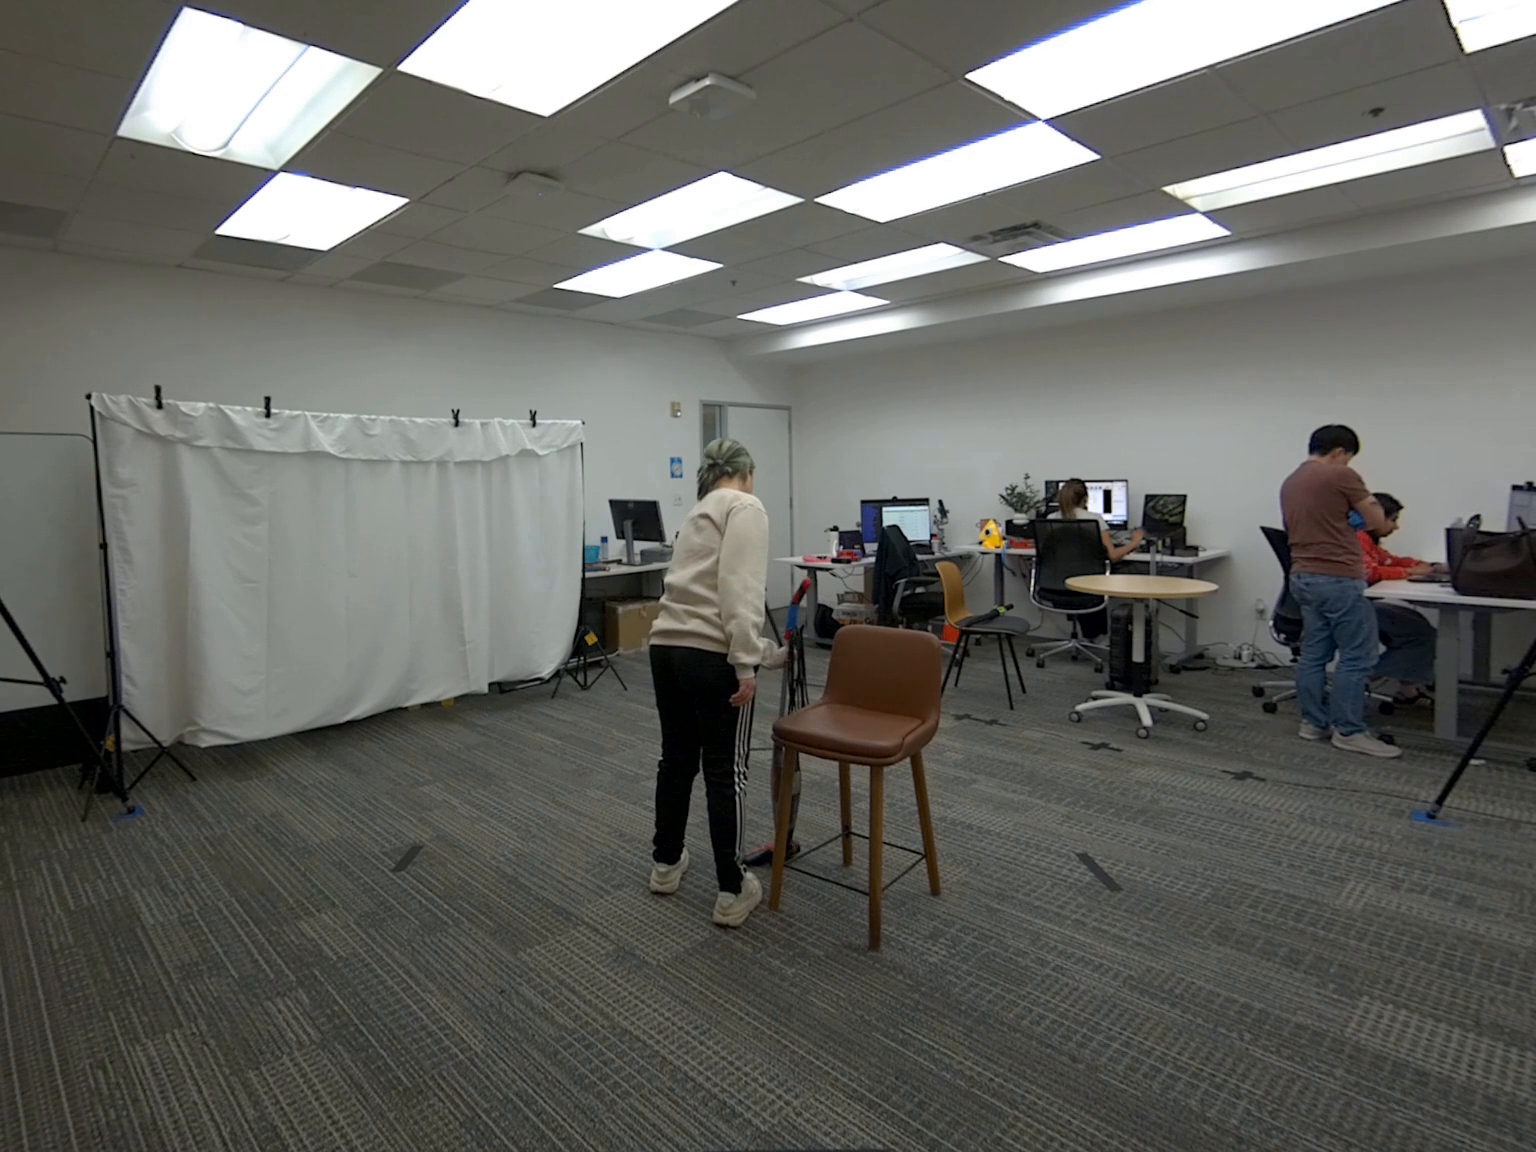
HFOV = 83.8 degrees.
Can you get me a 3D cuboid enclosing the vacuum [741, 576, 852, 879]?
[{"bbox_3d":[0.087,0.534,3.068,0.245,1.041,0.149,-2,13,-40],"label":"vacuum"}]
